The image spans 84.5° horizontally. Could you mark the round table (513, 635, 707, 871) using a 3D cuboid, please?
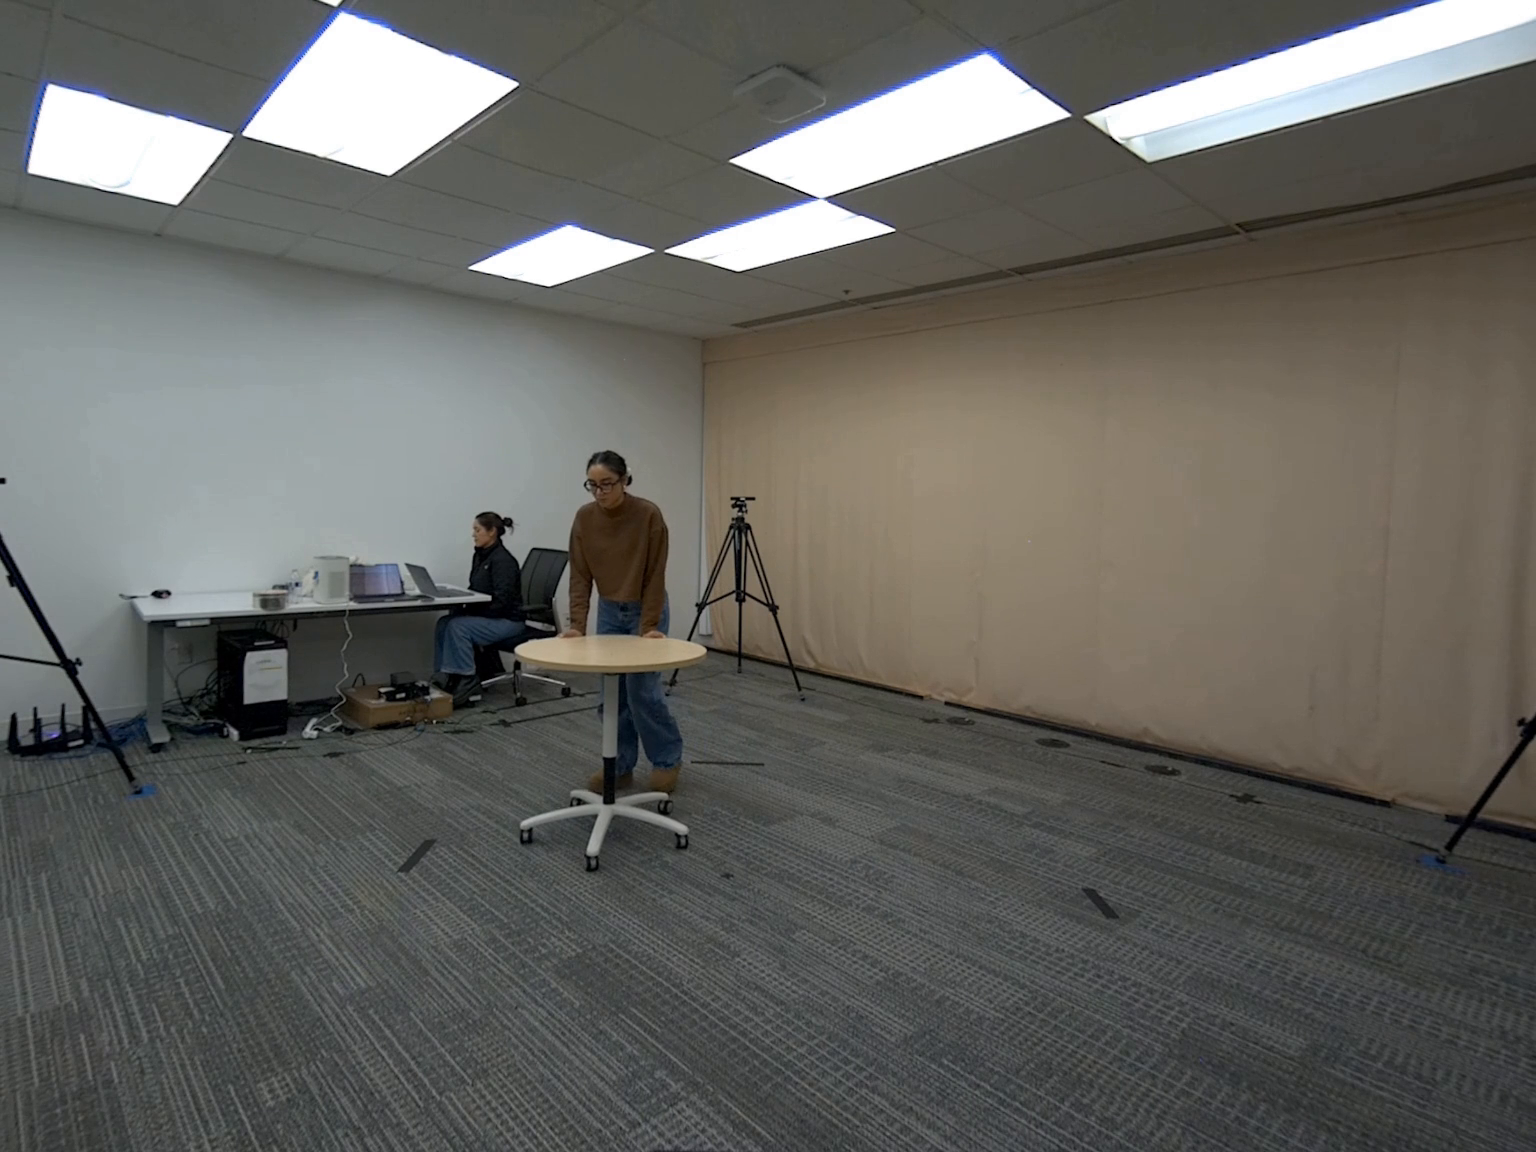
[{"bbox_3d":[-0.653,0.684,3.422,0.763,0.792,0.766,1,3,-1],"label":"round table"}]
